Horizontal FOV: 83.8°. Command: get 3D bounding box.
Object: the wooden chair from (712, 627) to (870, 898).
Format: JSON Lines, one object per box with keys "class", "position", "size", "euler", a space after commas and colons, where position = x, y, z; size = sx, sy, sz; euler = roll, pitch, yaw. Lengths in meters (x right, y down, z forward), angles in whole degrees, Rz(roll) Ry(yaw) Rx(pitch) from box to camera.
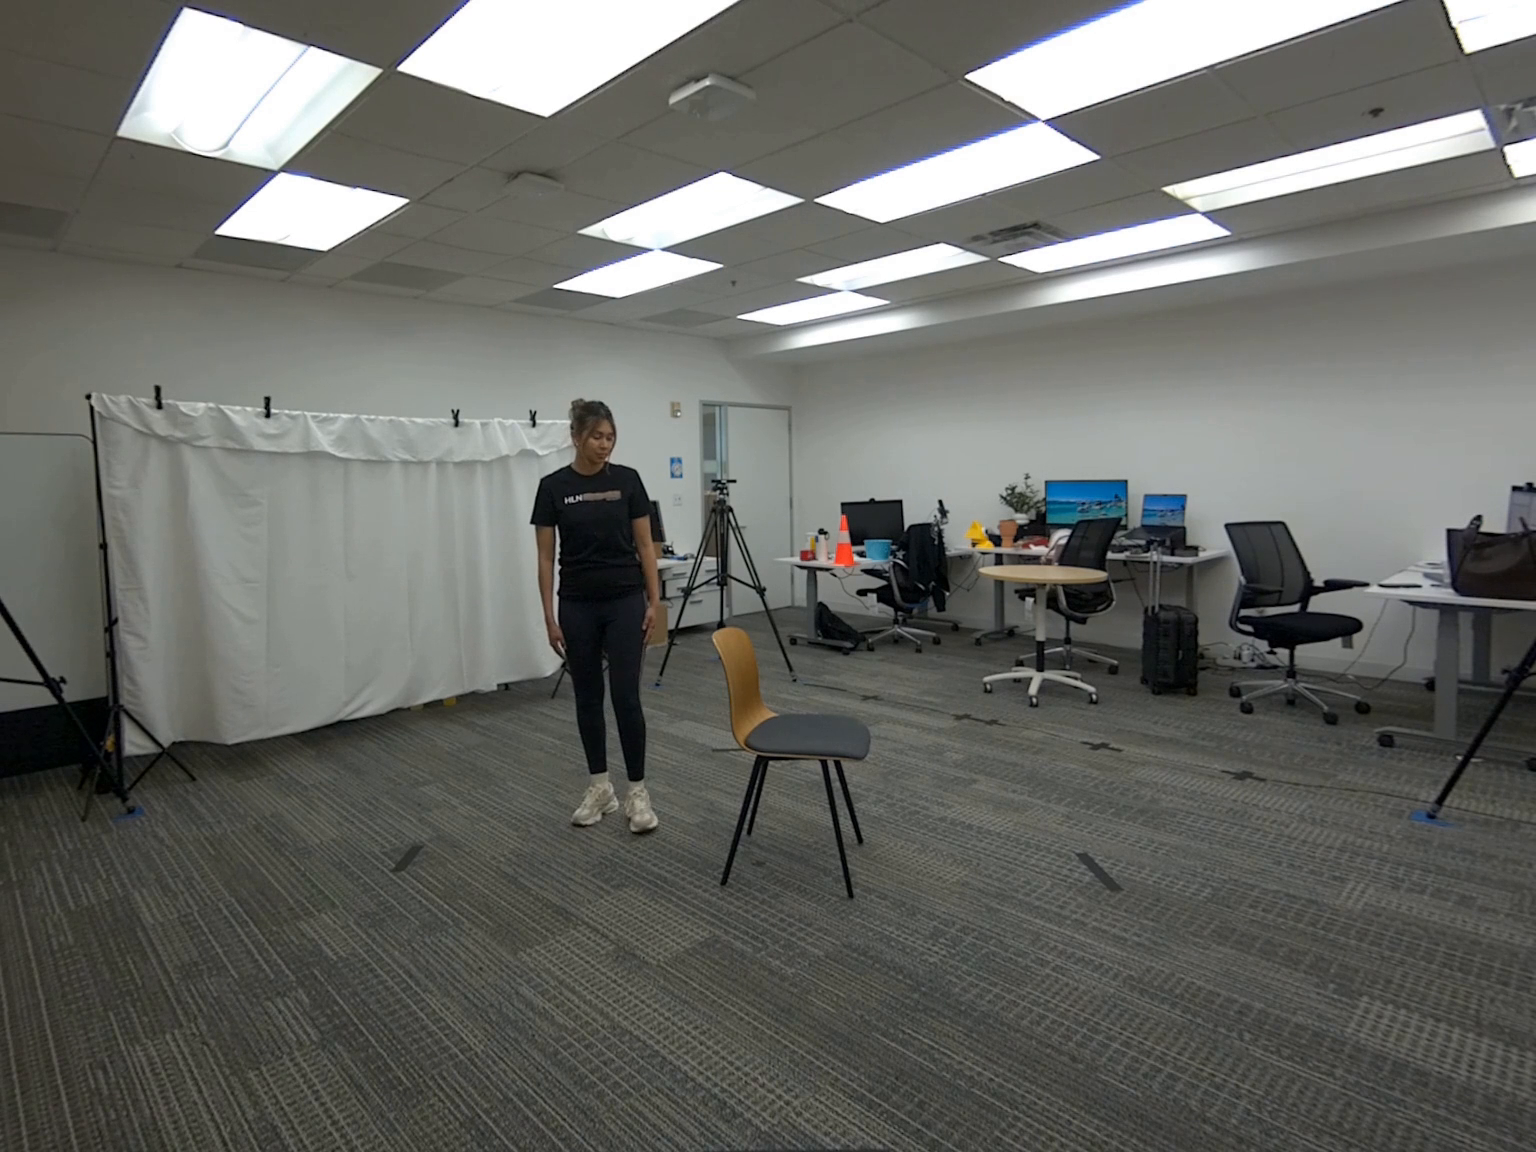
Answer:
{"class": "wooden chair", "position": [0.105, 0.620, 3.073], "size": [0.530, 0.875, 0.473], "euler": [-4, 3, 13]}
